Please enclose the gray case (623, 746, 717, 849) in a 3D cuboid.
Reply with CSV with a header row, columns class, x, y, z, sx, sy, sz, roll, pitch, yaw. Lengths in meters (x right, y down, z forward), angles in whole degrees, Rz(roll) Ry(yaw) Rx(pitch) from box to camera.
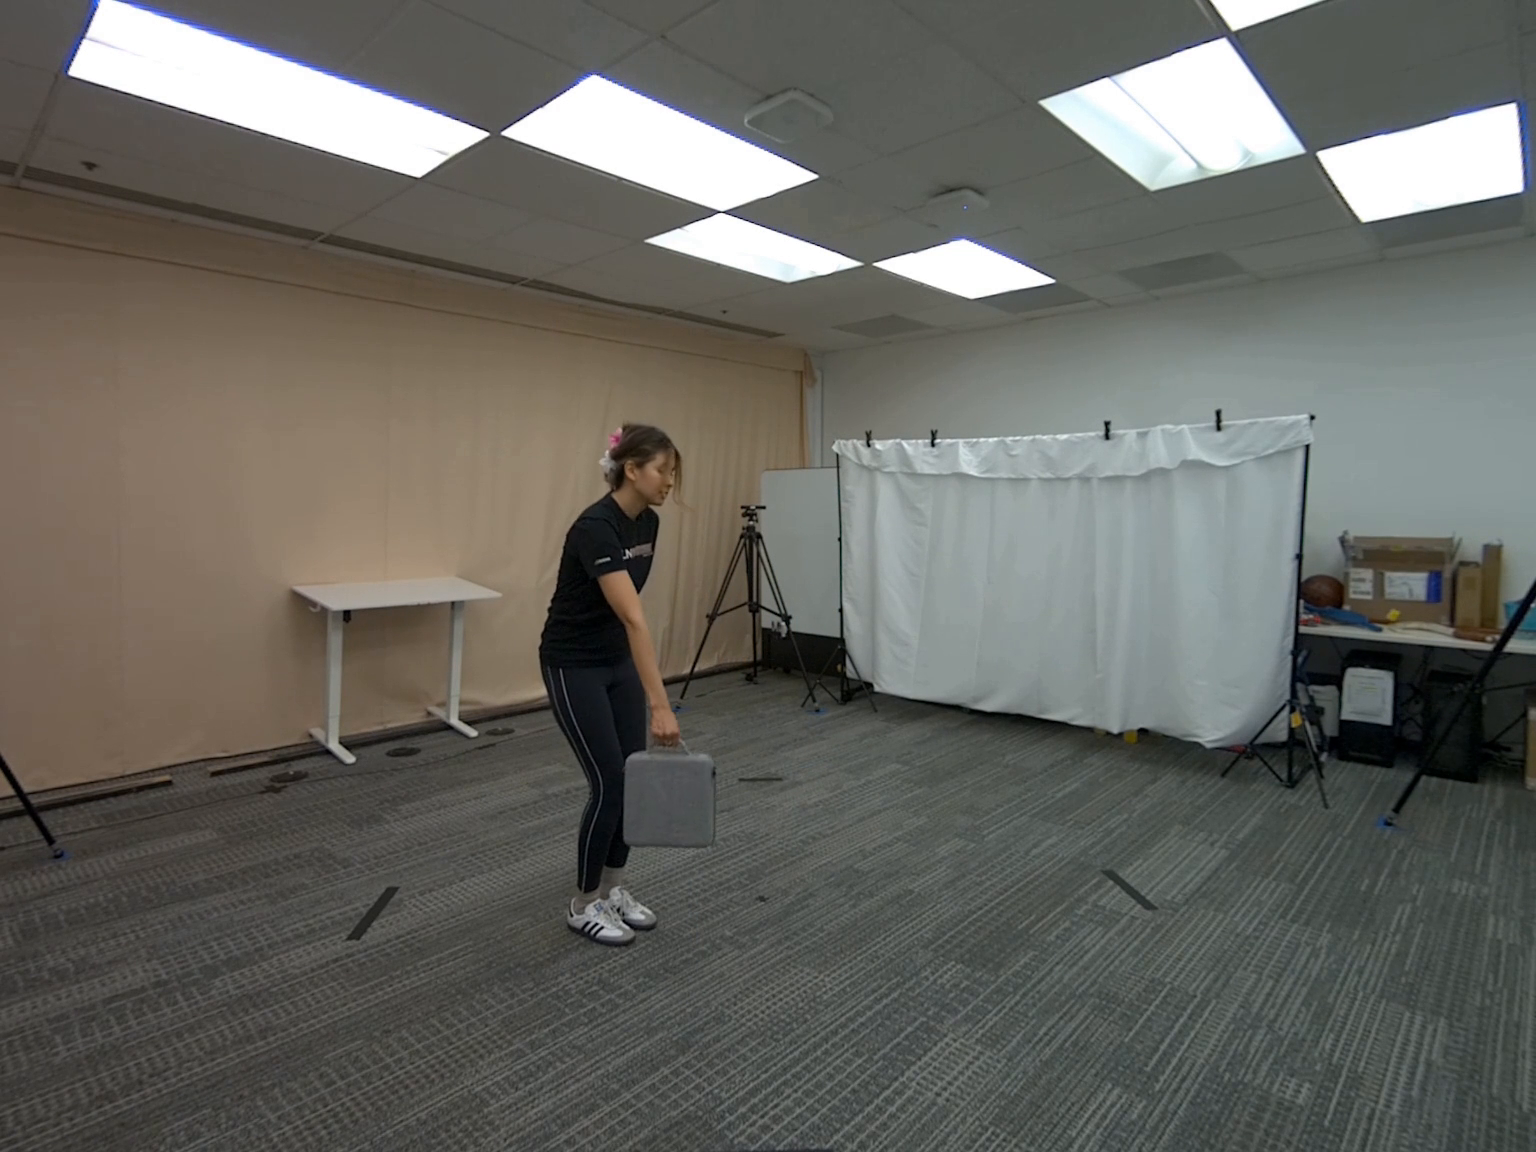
class,x,y,z,sx,sy,sz,roll,pitch,yaw
gray case,-0.268,0.628,2.369,0.259,0.262,0.103,-2,-7,6
